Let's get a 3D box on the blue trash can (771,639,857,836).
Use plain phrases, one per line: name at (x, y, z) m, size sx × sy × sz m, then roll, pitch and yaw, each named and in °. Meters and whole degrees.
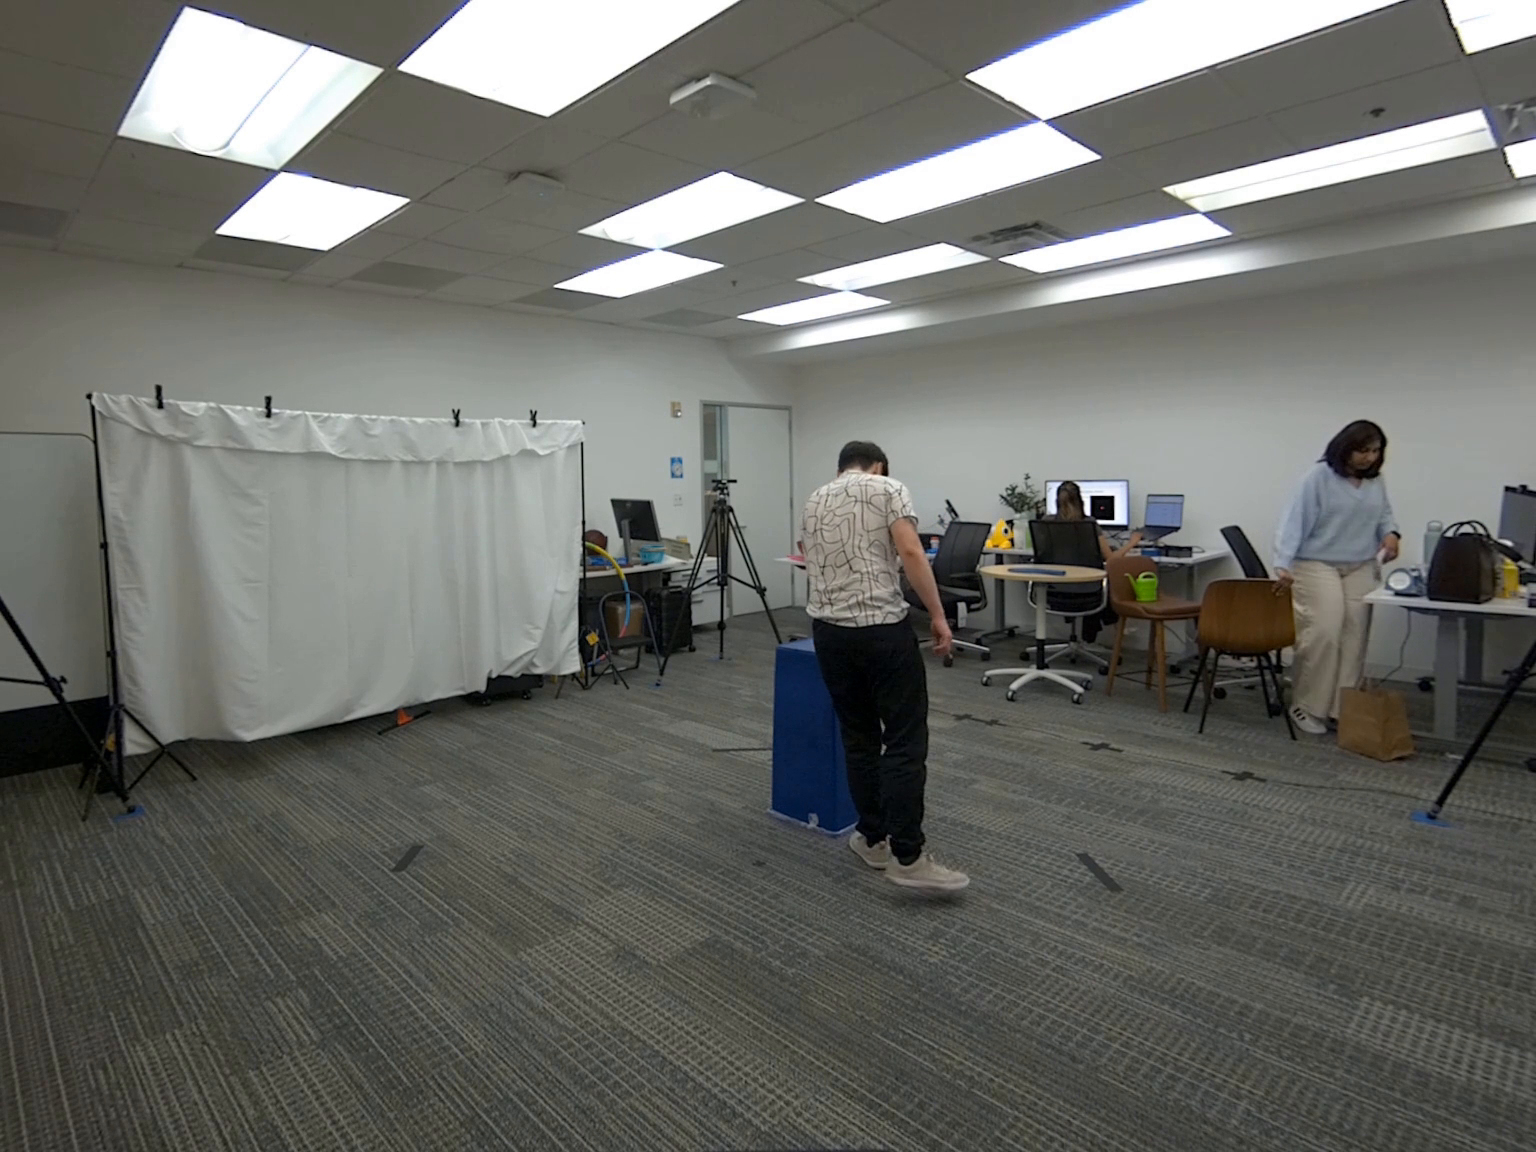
blue trash can at (0.253, 0.641, 3.550) m, size 0.390 × 0.711 × 0.364 m, roll 3°, pitch 5°, yaw 43°
